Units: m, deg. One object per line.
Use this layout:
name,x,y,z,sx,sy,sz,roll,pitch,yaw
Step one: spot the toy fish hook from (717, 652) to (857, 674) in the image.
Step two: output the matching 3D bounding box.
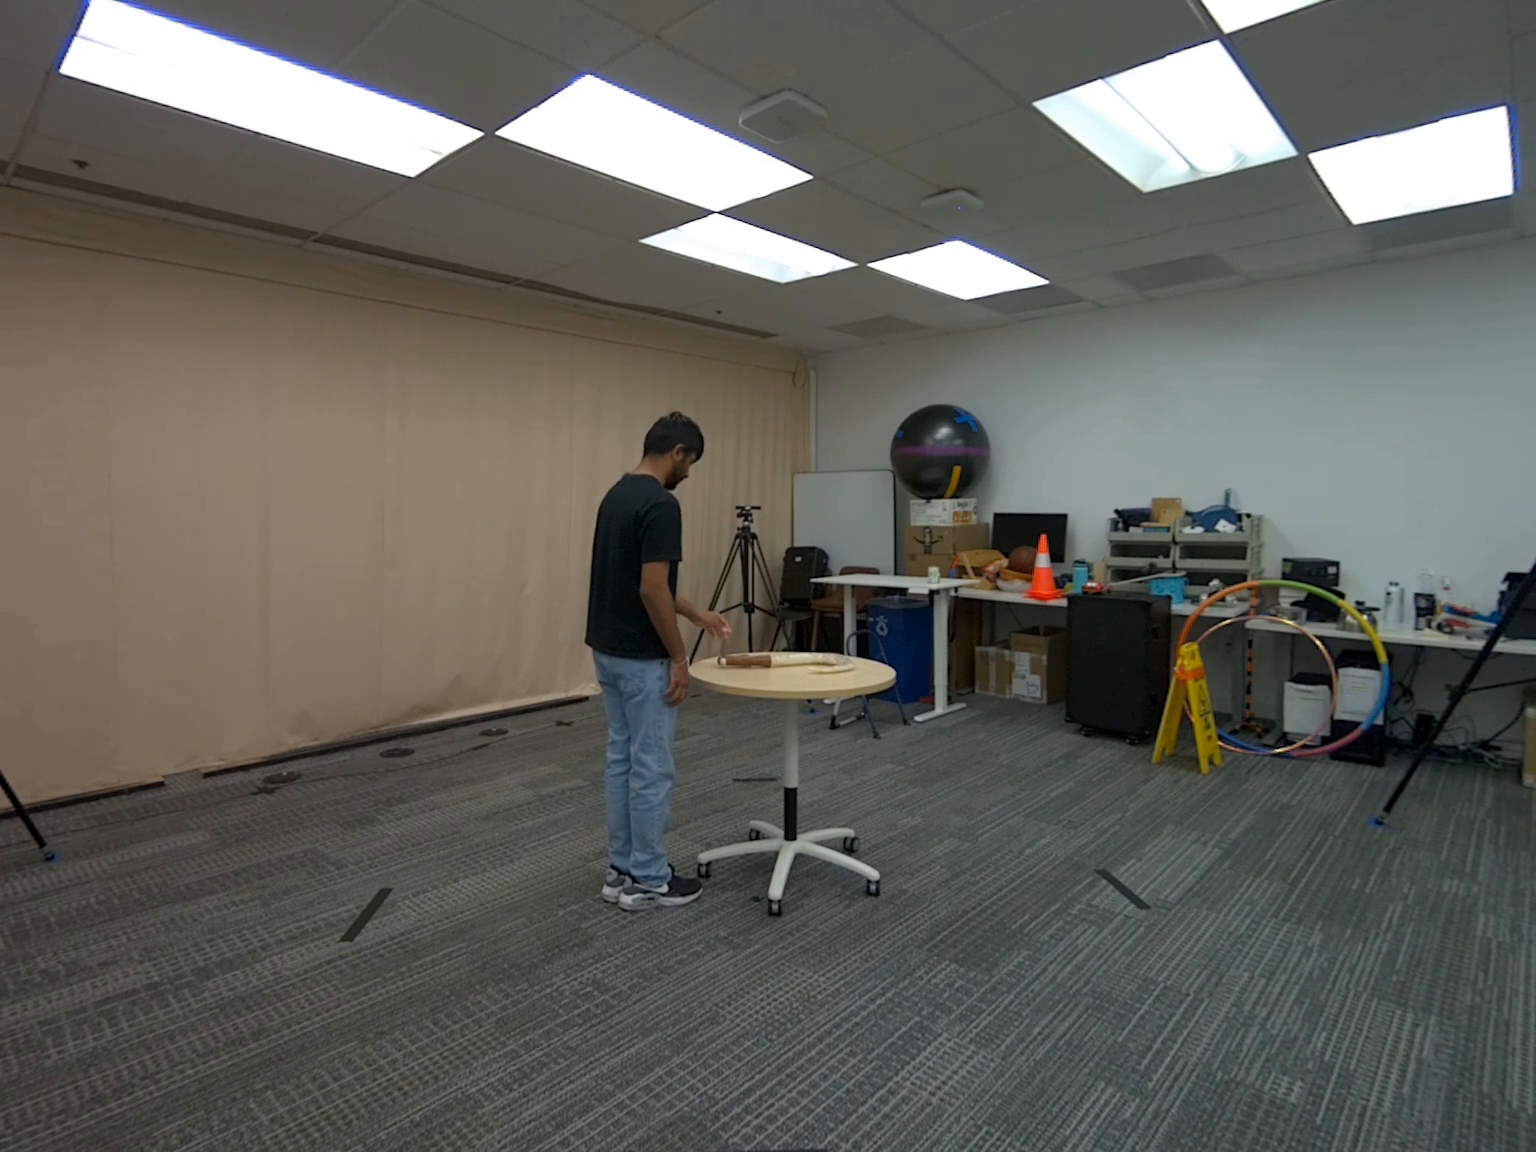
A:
toy fish hook,0.074,0.328,3.127,0.503,0.048,0.226,0,2,-8
